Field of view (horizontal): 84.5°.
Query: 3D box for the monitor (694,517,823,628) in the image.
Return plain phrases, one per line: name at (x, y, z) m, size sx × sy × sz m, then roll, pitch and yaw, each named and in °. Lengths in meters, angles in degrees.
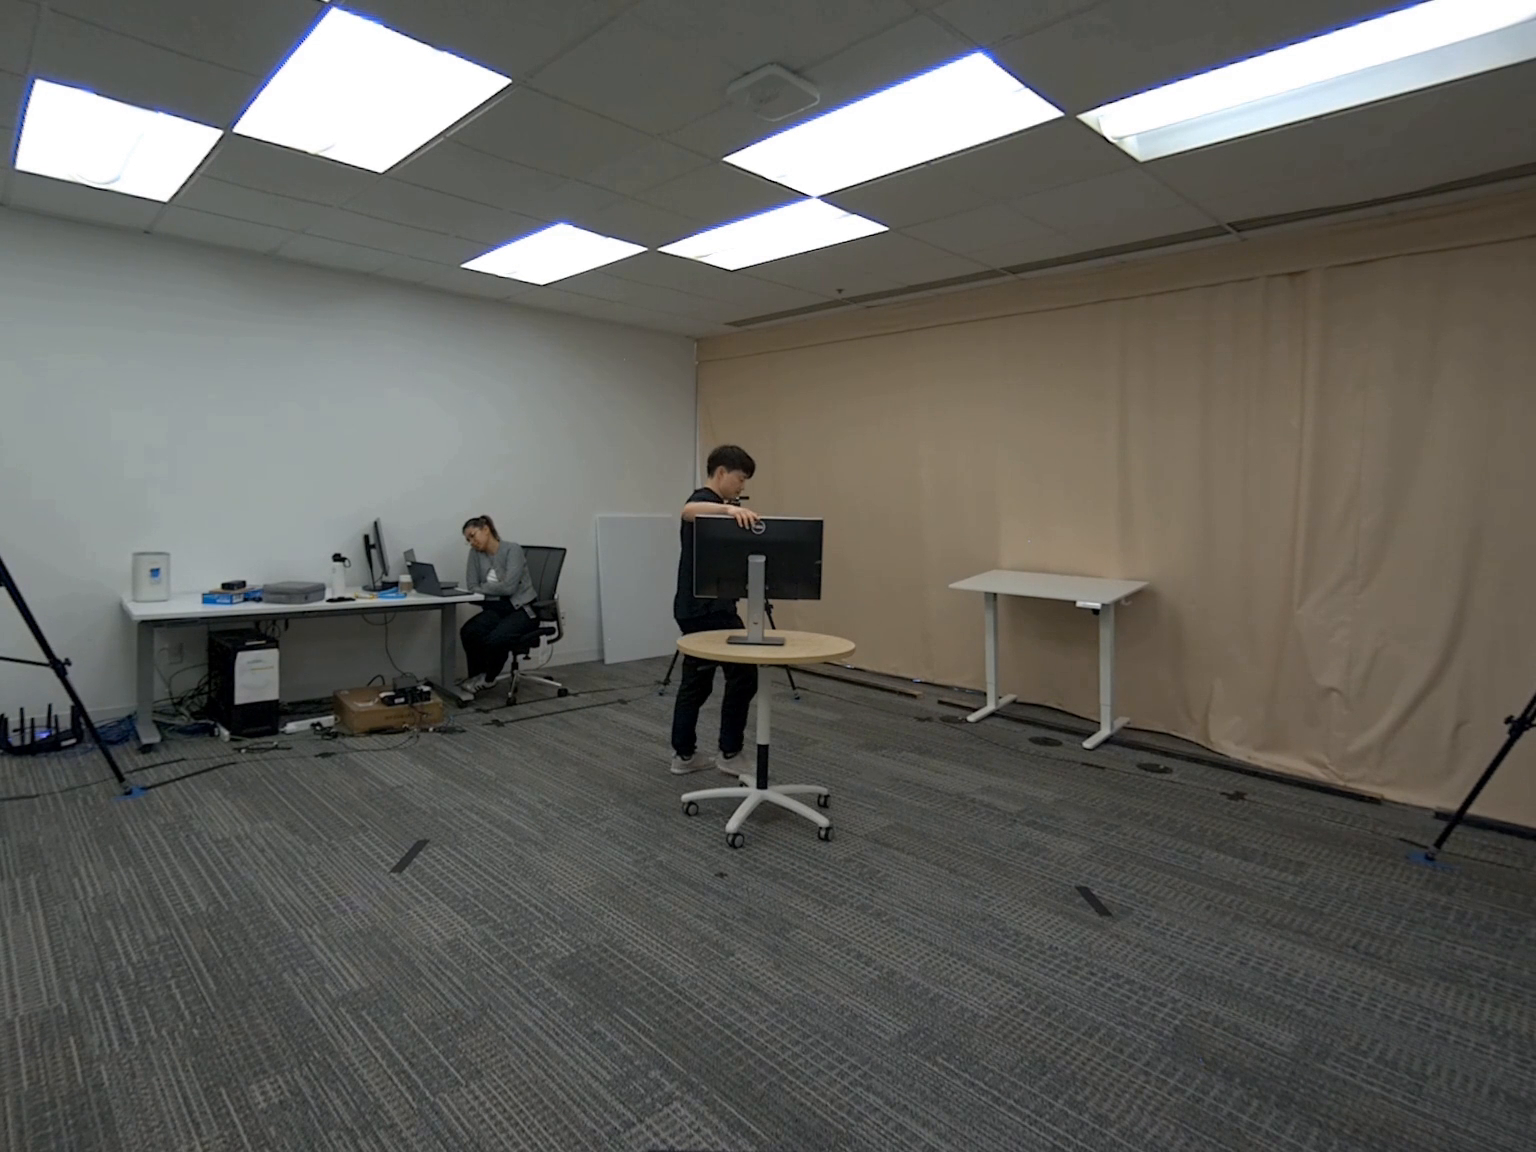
monitor at (-0.051, 0.022, 3.607) m, size 0.540 × 0.522 × 0.187 m, roll 2°, pitch 1°, yaw 2°
